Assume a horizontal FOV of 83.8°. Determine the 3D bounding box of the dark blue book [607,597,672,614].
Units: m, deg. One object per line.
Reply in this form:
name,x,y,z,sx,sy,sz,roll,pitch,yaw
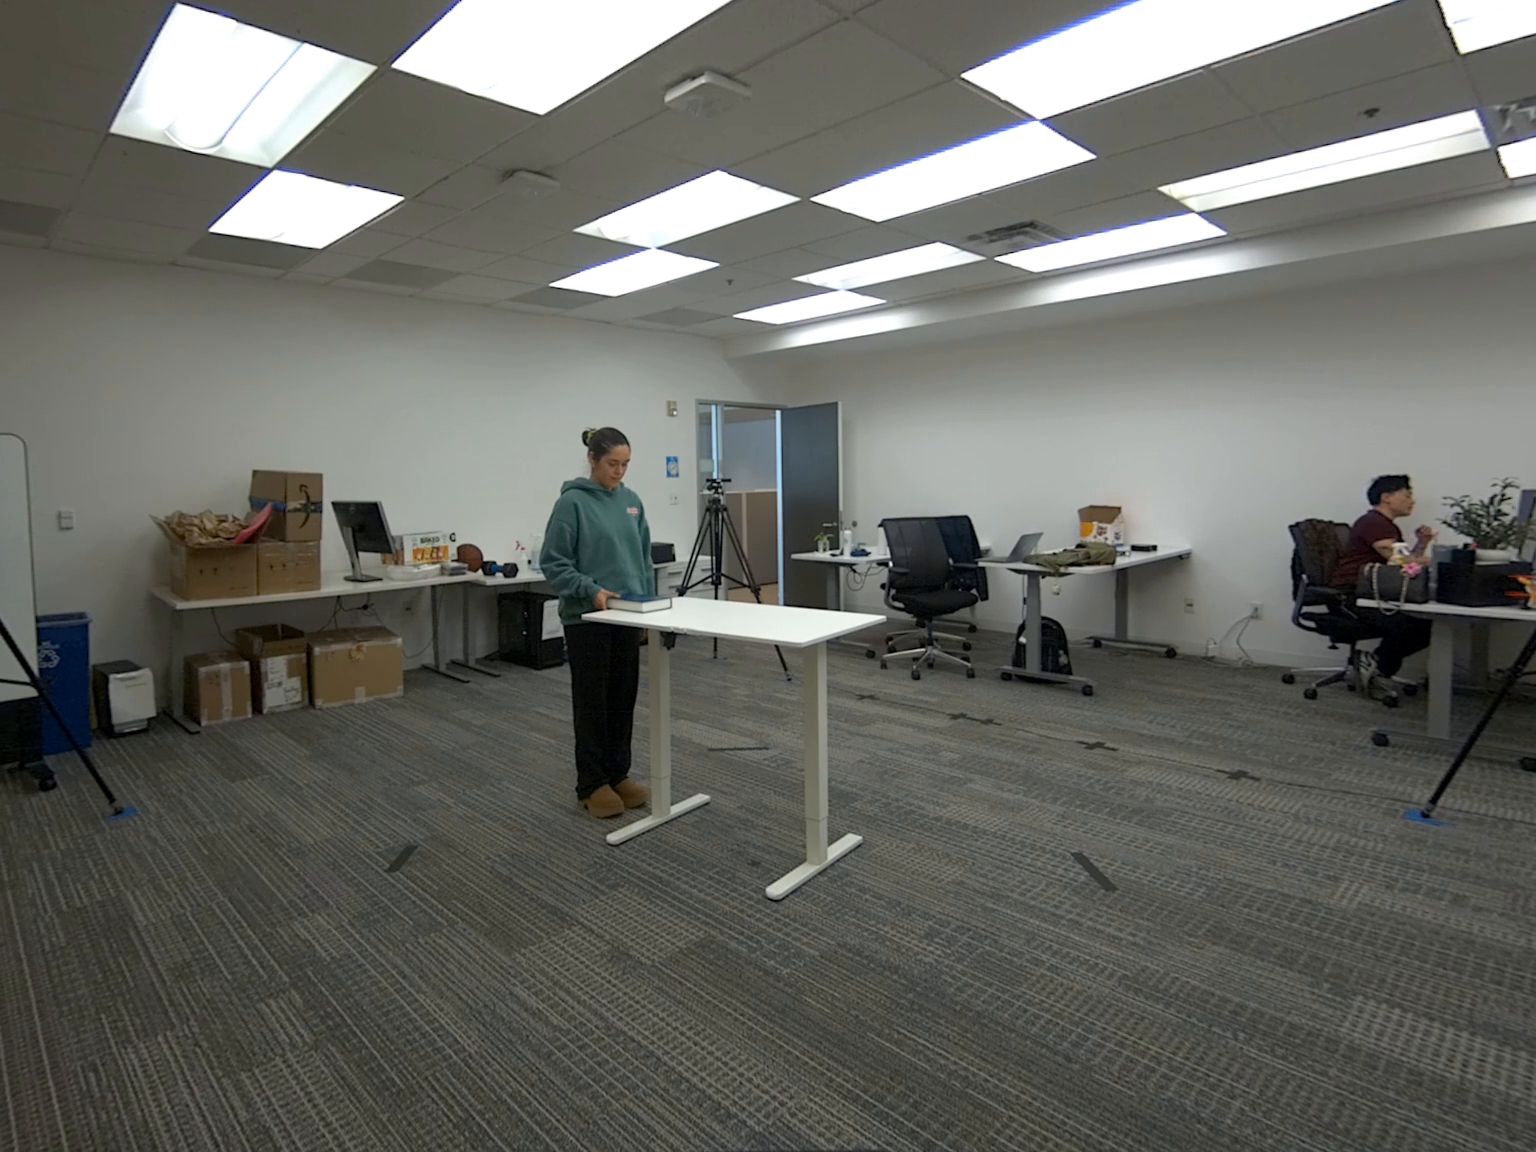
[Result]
dark blue book,-0.530,0.109,3.458,0.252,0.045,0.159,4,8,40
